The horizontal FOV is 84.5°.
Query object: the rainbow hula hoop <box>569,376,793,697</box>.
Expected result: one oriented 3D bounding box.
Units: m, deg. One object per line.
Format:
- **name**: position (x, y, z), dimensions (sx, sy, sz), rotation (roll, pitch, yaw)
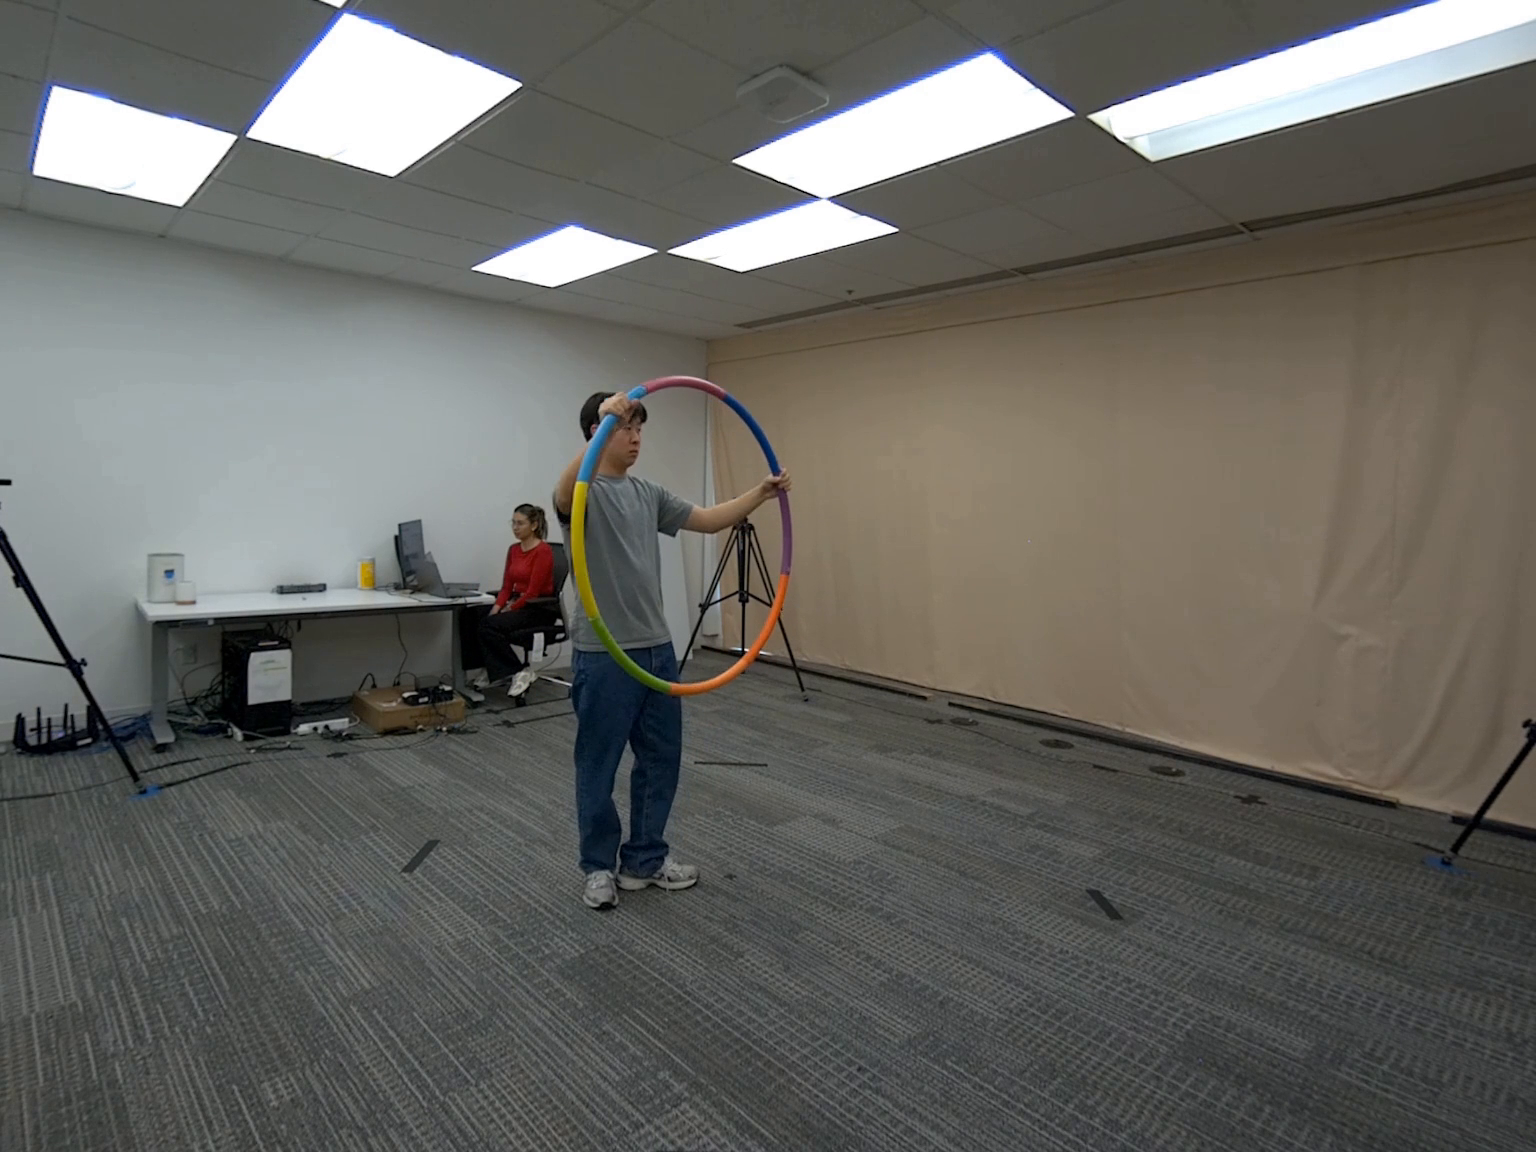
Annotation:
- **rainbow hula hoop**: position (-0.237, -0.123, 2.645), dimensions (0.036, 0.978, 0.957), rotation (-2, 1, 40)
